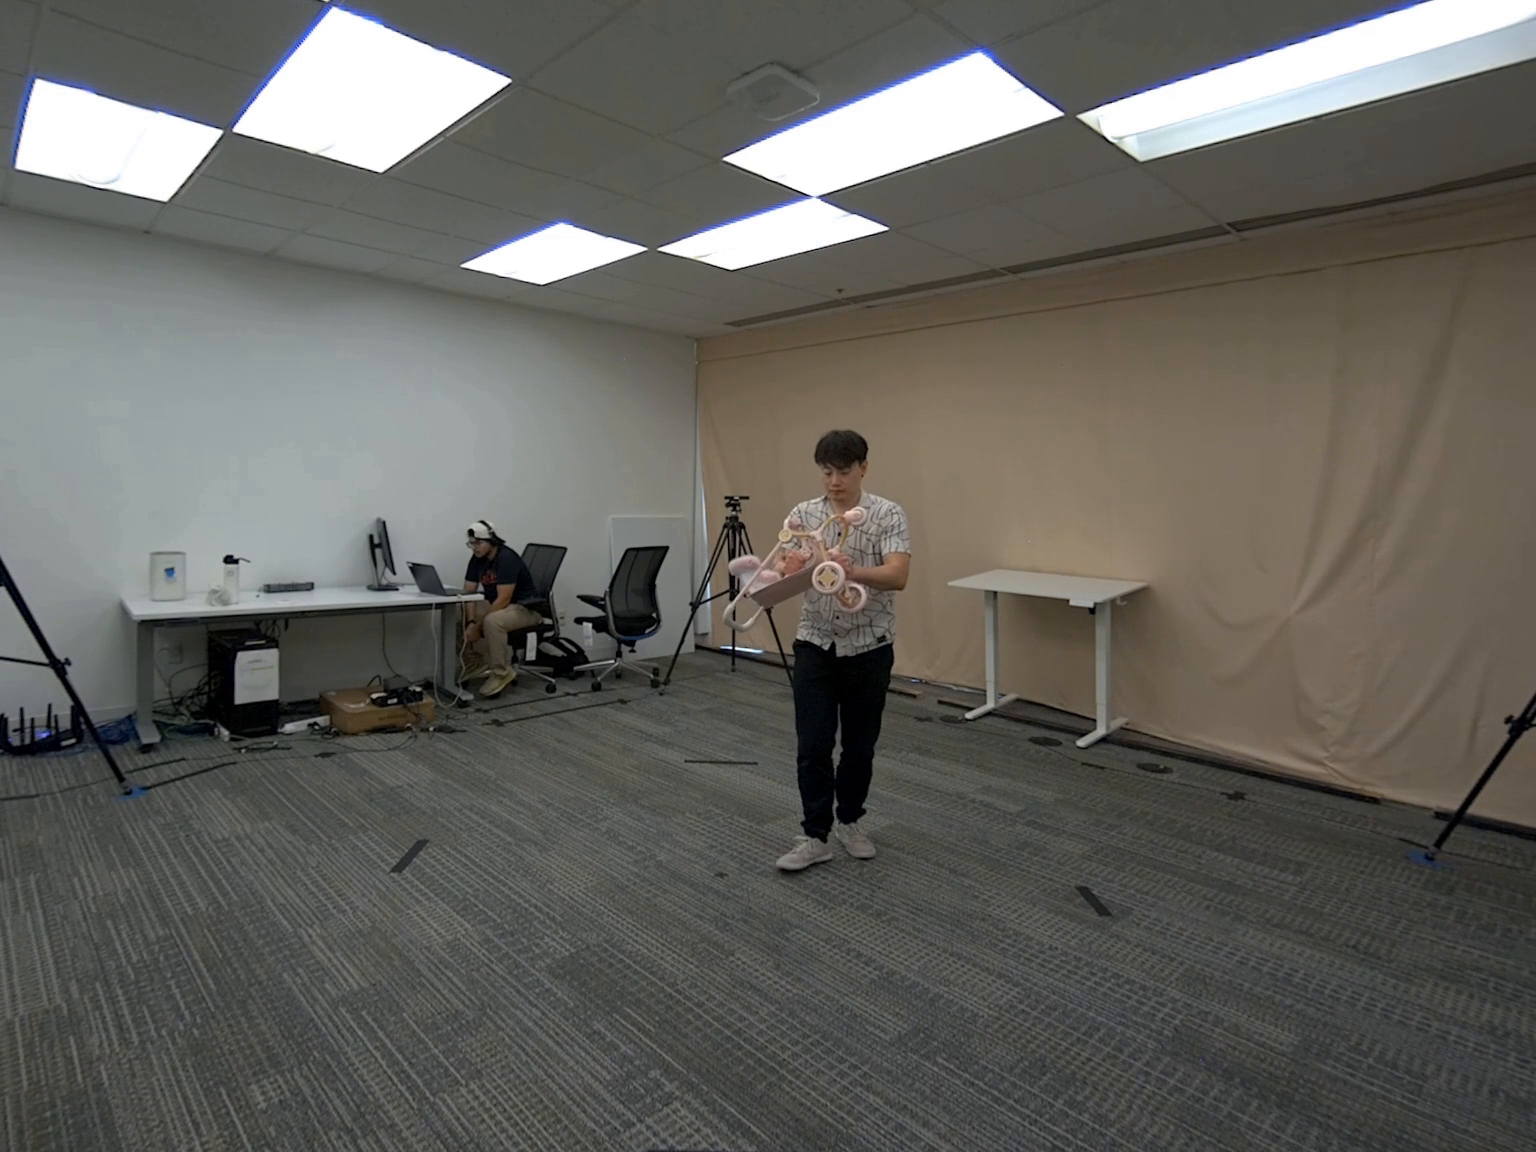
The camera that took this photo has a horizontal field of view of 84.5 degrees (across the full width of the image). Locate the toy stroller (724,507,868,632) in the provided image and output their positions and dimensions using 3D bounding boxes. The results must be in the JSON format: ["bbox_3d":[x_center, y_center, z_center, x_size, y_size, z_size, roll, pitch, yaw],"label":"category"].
[{"bbox_3d":[0.086,-0.030,2.867,0.541,0.346,0.274,-13,-18,21],"label":"toy stroller"}]
